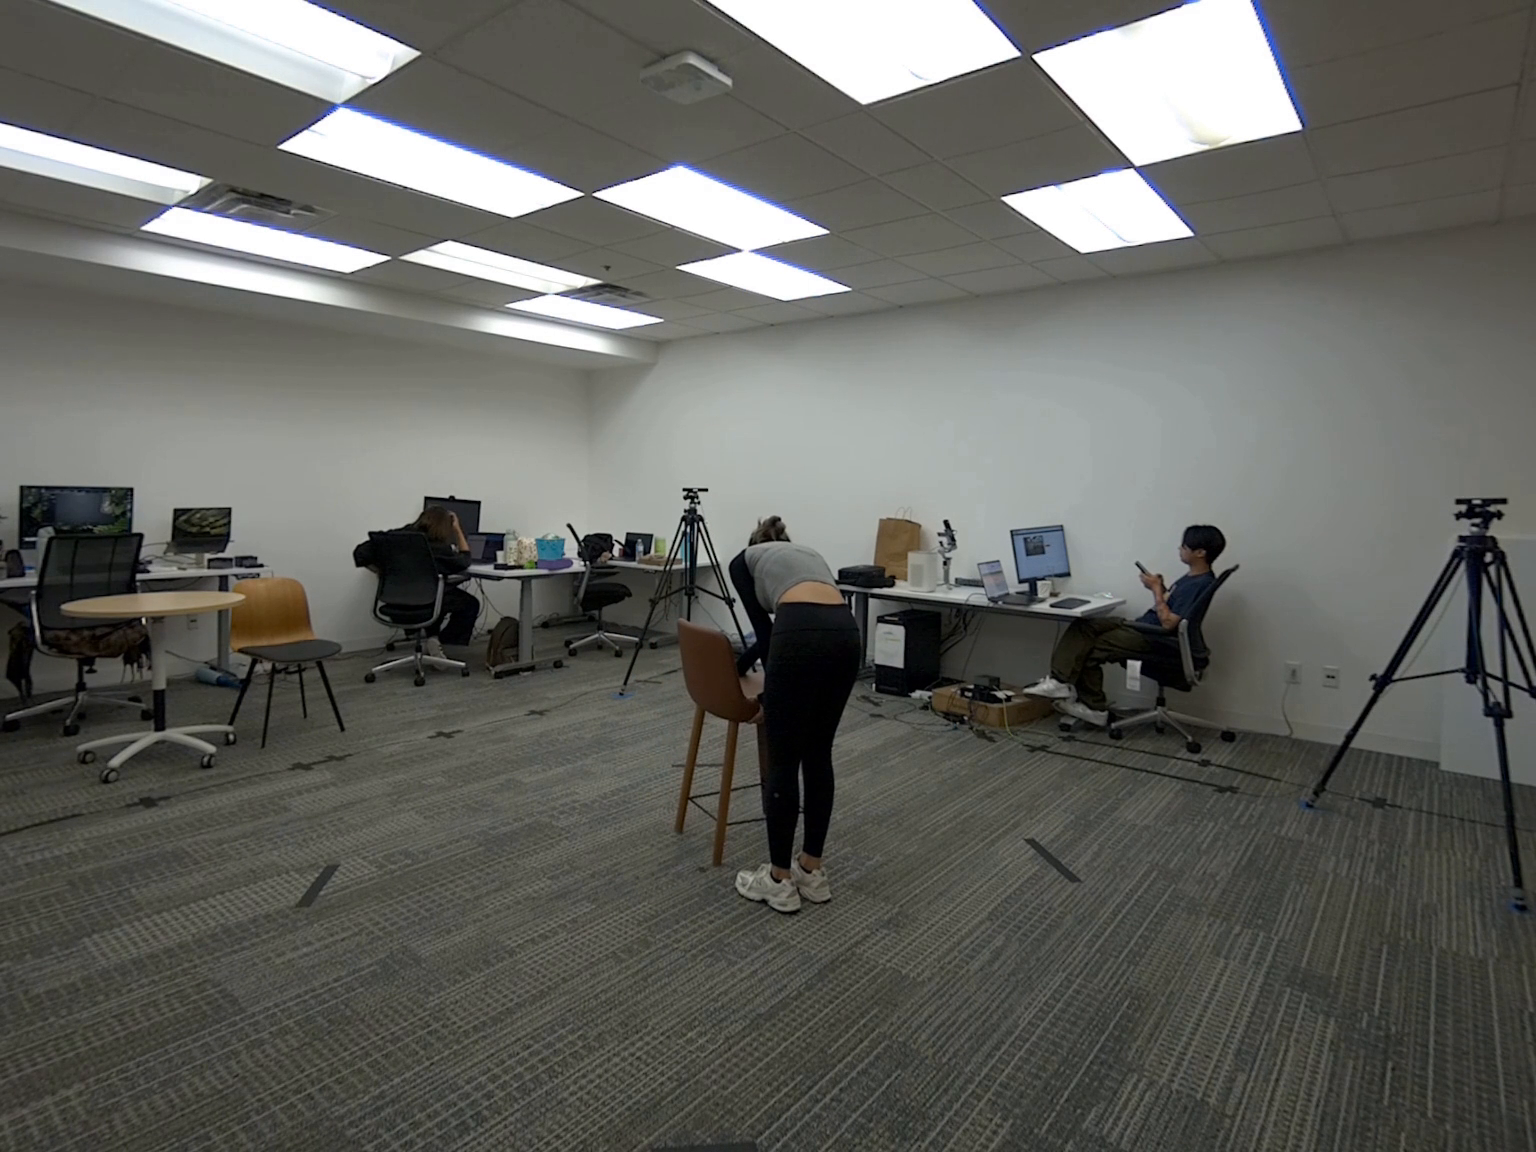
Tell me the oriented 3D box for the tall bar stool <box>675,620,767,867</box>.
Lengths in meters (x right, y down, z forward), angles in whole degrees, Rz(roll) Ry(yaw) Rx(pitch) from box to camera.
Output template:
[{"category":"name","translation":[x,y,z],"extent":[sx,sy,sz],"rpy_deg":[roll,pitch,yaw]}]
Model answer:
[{"category":"tall bar stool","translation":[-0.101,0.609,3.373],"extent":[0.456,0.886,0.470],"rpy_deg":[-2,5,-29]}]
